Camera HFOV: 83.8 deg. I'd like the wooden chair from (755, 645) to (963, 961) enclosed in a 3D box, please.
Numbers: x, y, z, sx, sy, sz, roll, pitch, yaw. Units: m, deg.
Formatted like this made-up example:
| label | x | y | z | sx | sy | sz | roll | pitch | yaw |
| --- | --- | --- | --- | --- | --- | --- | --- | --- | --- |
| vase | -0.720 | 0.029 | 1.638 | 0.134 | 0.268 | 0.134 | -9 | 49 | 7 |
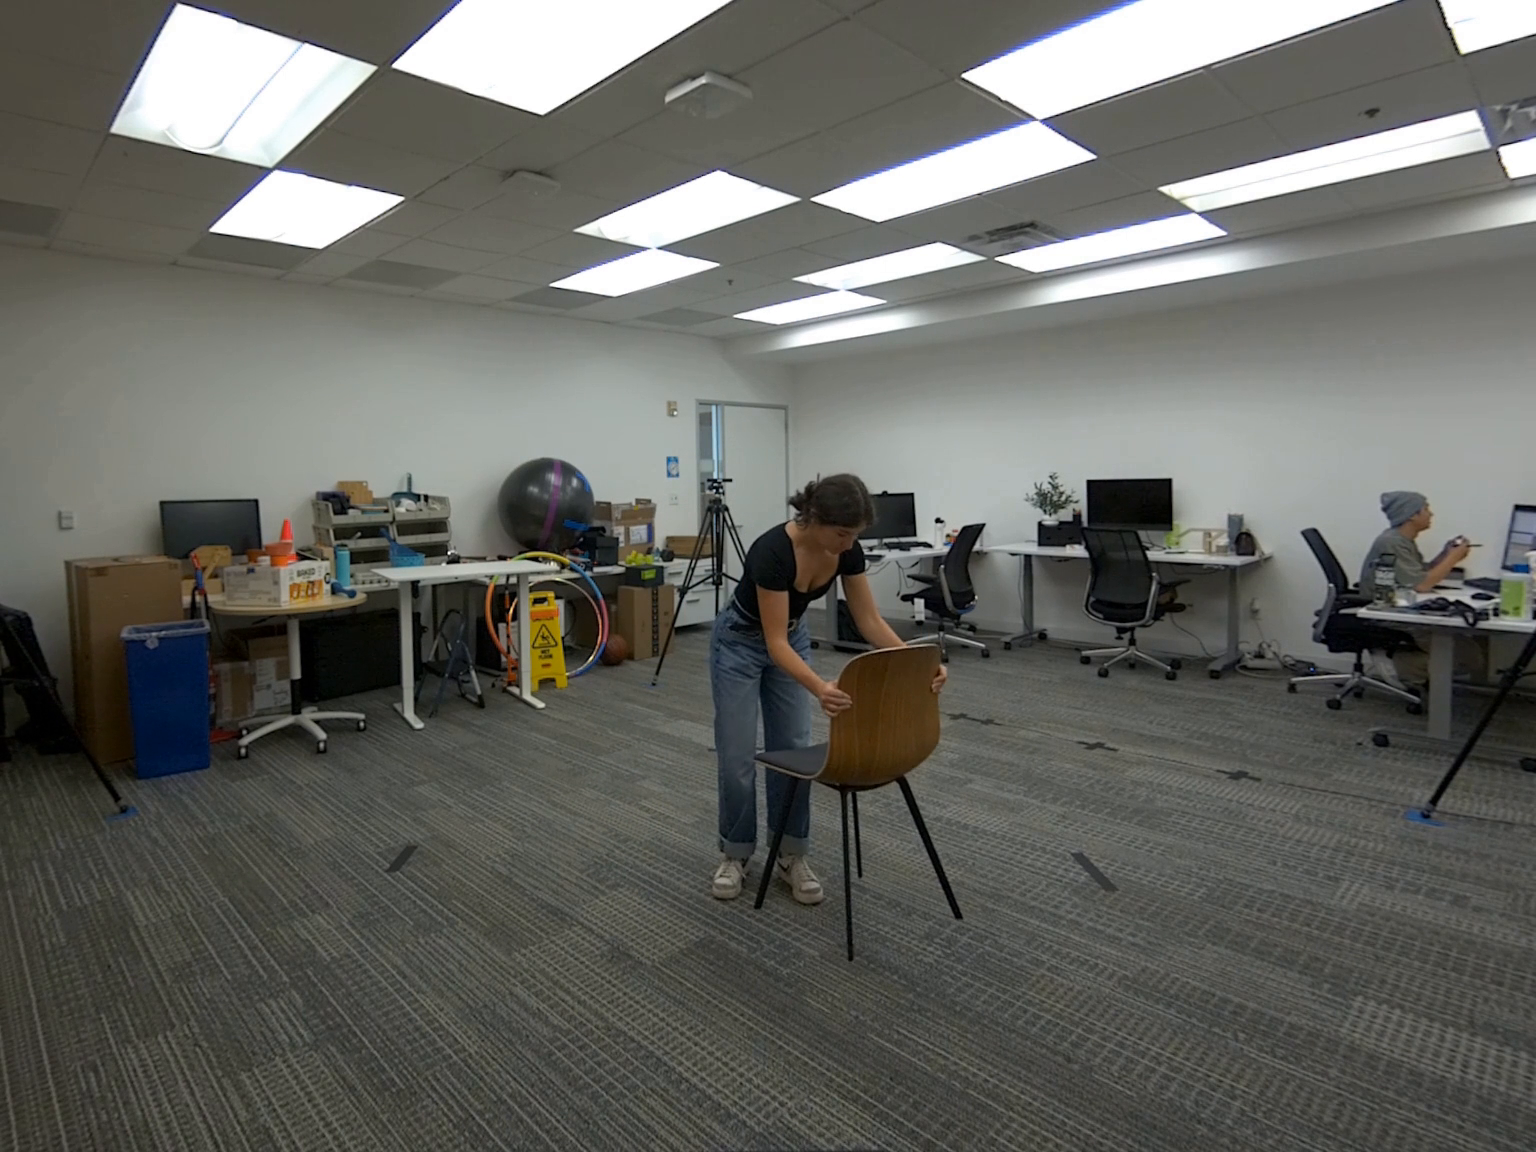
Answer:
| label | x | y | z | sx | sy | sz | roll | pitch | yaw |
| --- | --- | --- | --- | --- | --- | --- | --- | --- | --- |
| wooden chair | 0.250 | 0.623 | 2.648 | 0.466 | 0.875 | 0.538 | -3 | 4 | -35 |
